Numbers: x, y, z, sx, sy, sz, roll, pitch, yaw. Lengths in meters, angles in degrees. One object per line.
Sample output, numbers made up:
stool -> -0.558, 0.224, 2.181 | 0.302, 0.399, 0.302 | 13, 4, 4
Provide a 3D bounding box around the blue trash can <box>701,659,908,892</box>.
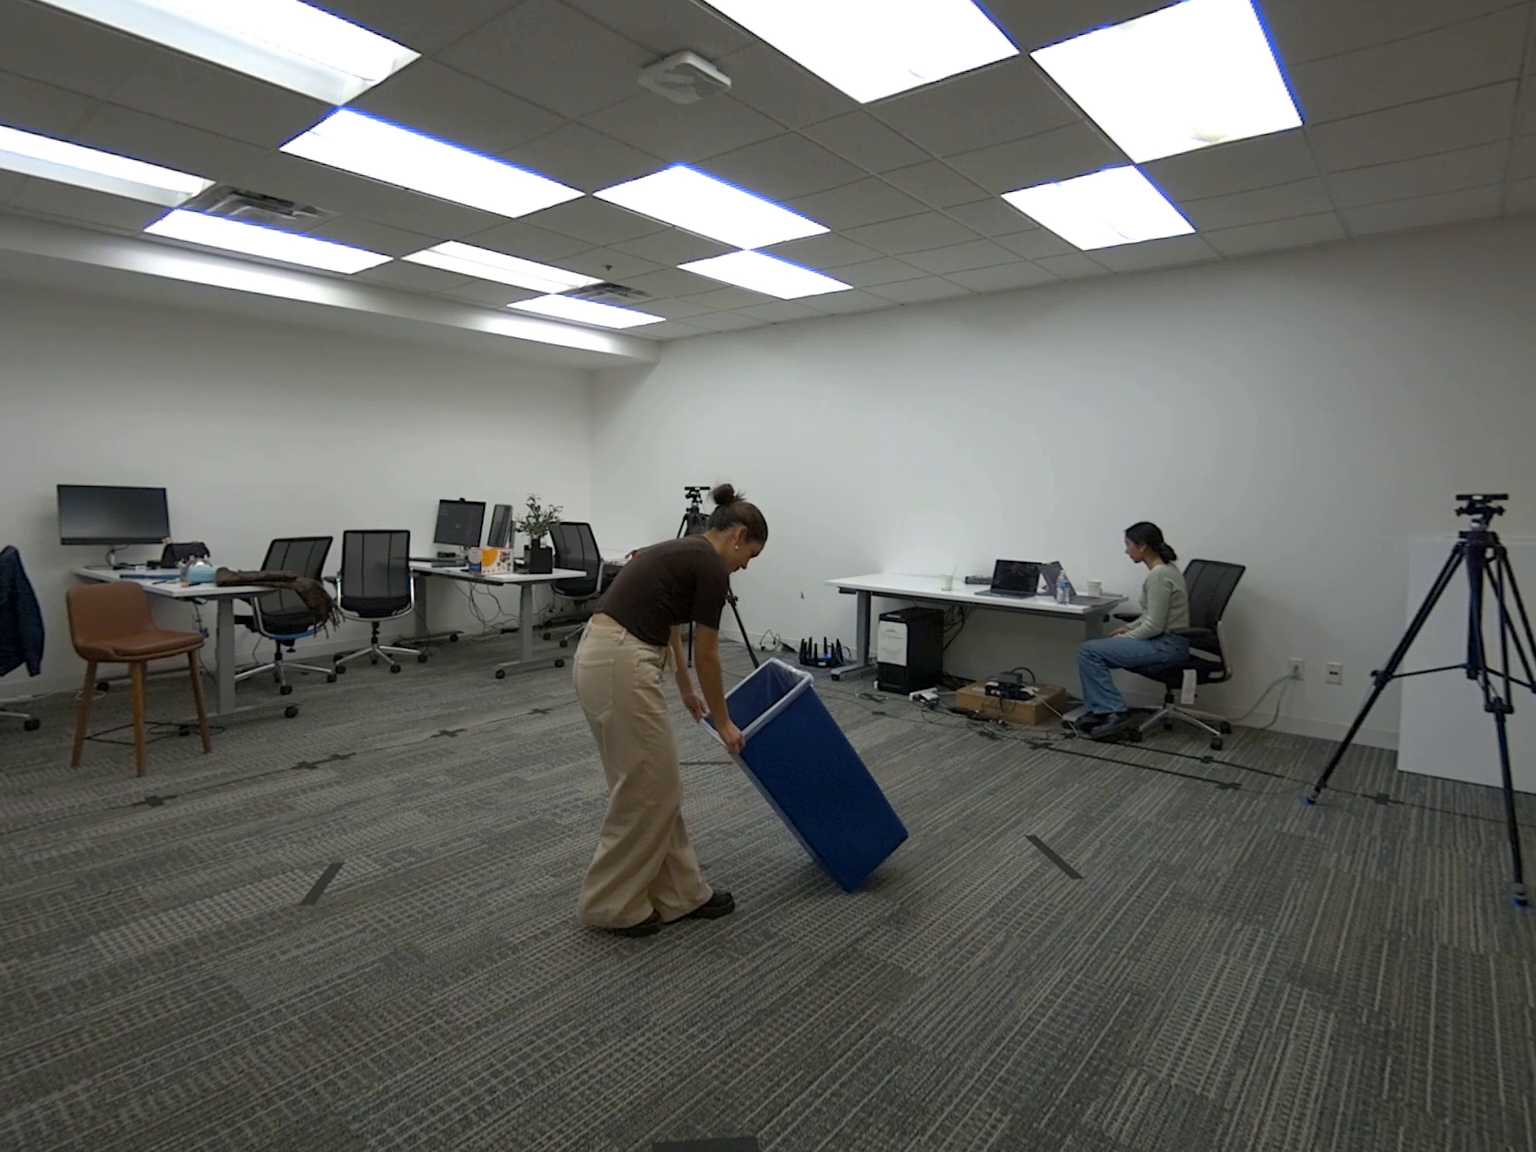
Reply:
blue trash can -> 0.138, 0.709, 3.005 | 0.372, 0.702, 0.386 | -37, 12, -15
